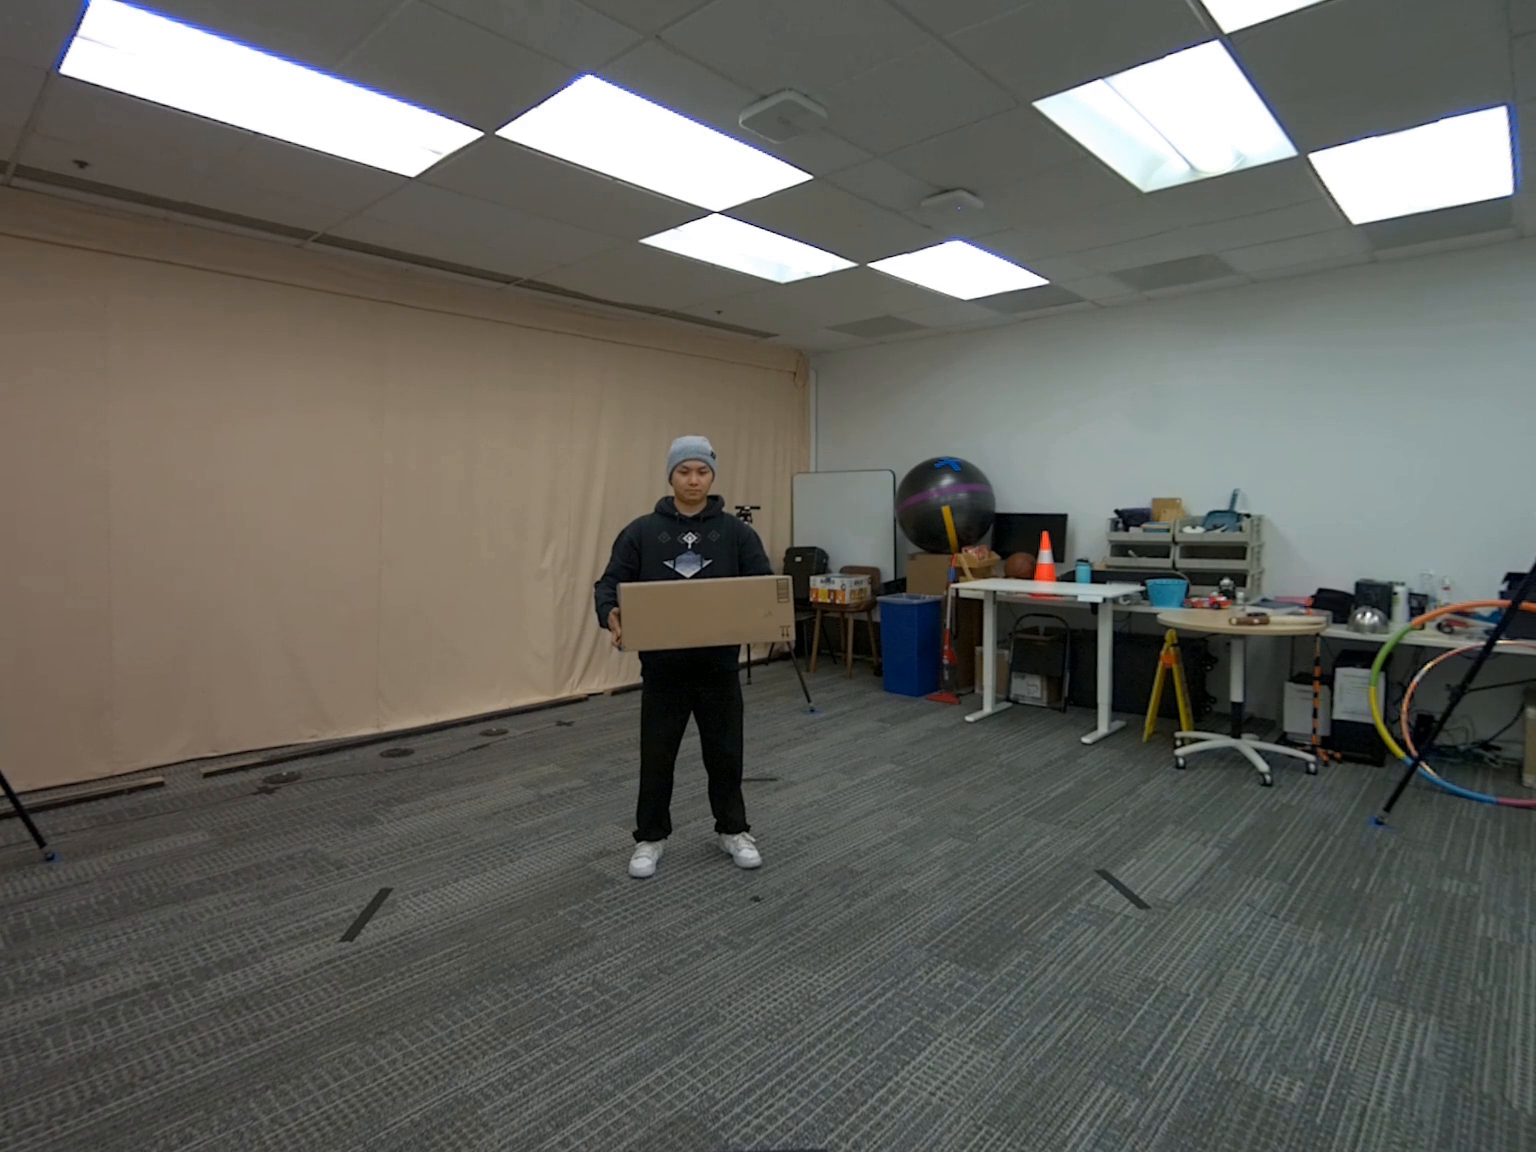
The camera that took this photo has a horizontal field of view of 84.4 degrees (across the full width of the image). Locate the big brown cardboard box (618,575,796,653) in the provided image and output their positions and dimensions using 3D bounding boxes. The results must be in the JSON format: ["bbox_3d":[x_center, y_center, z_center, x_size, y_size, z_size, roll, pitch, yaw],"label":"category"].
[{"bbox_3d":[-0.230,0.124,2.947,0.586,0.233,0.420,-4,0,-5],"label":"big brown cardboard box"}]
